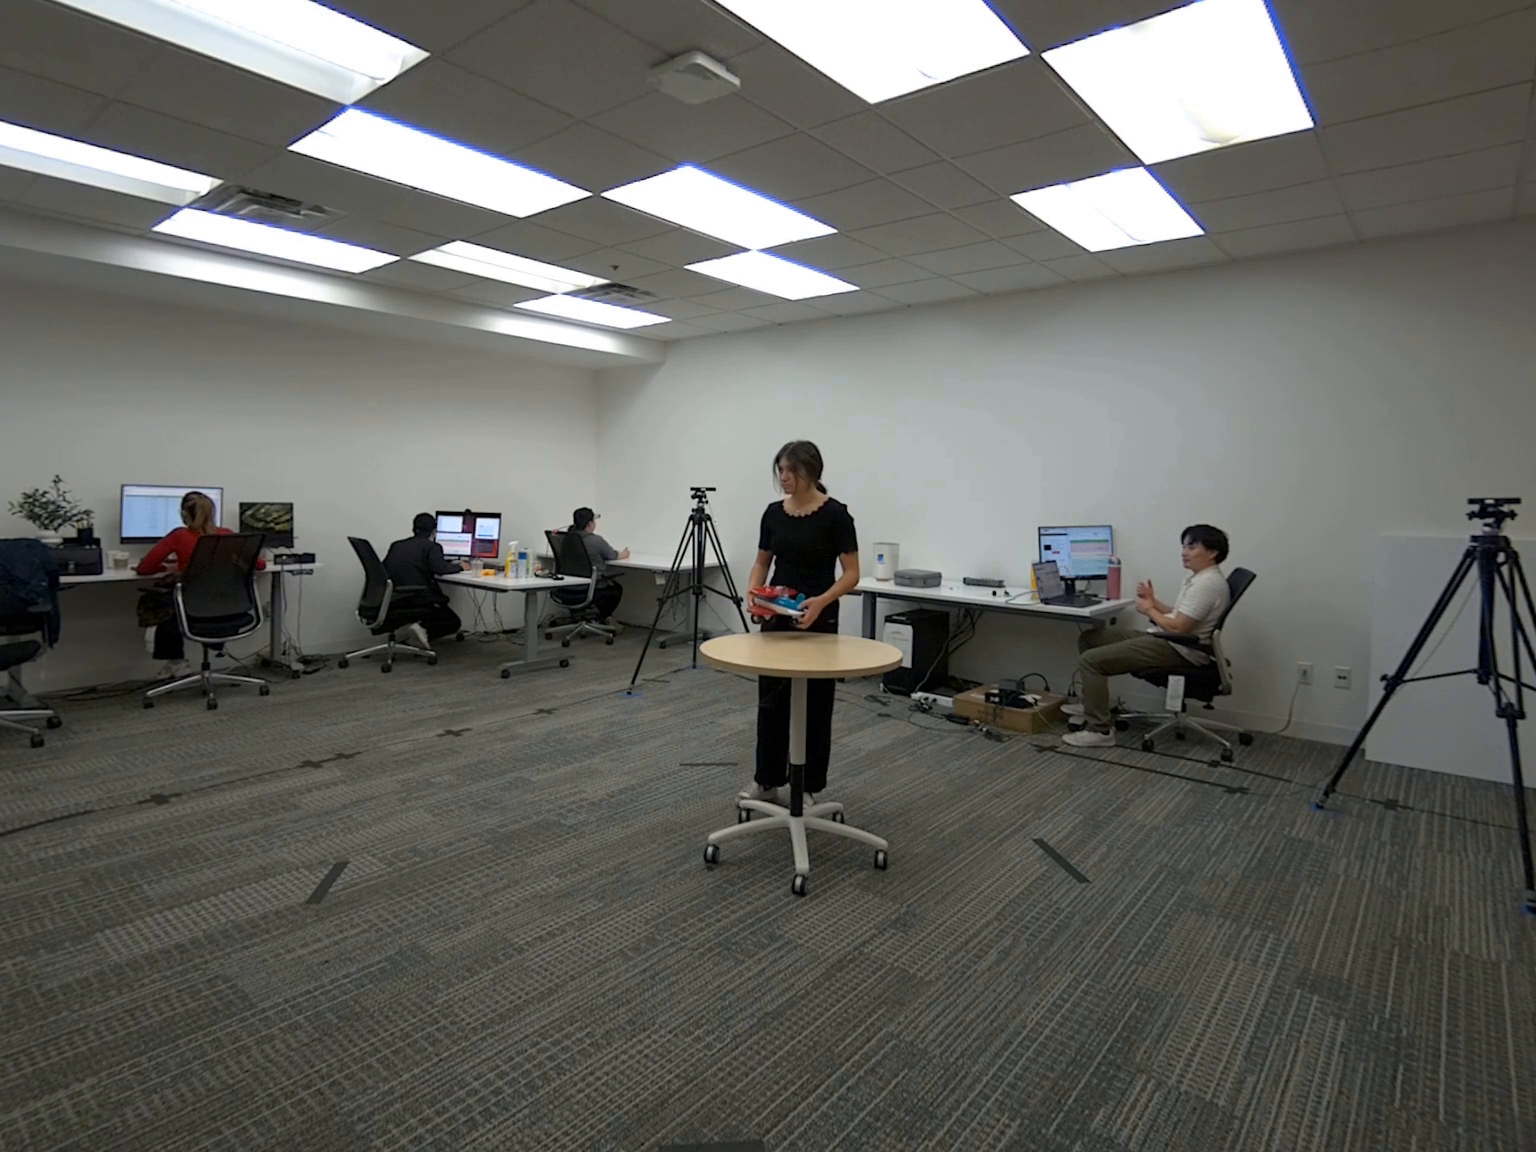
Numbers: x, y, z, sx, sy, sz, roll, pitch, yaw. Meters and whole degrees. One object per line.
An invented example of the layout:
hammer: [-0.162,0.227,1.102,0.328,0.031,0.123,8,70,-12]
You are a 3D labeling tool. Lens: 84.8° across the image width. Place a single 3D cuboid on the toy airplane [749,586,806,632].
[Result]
toy airplane: [0.039,0.117,3.523,0.263,0.156,0.247,-2,1,15]
